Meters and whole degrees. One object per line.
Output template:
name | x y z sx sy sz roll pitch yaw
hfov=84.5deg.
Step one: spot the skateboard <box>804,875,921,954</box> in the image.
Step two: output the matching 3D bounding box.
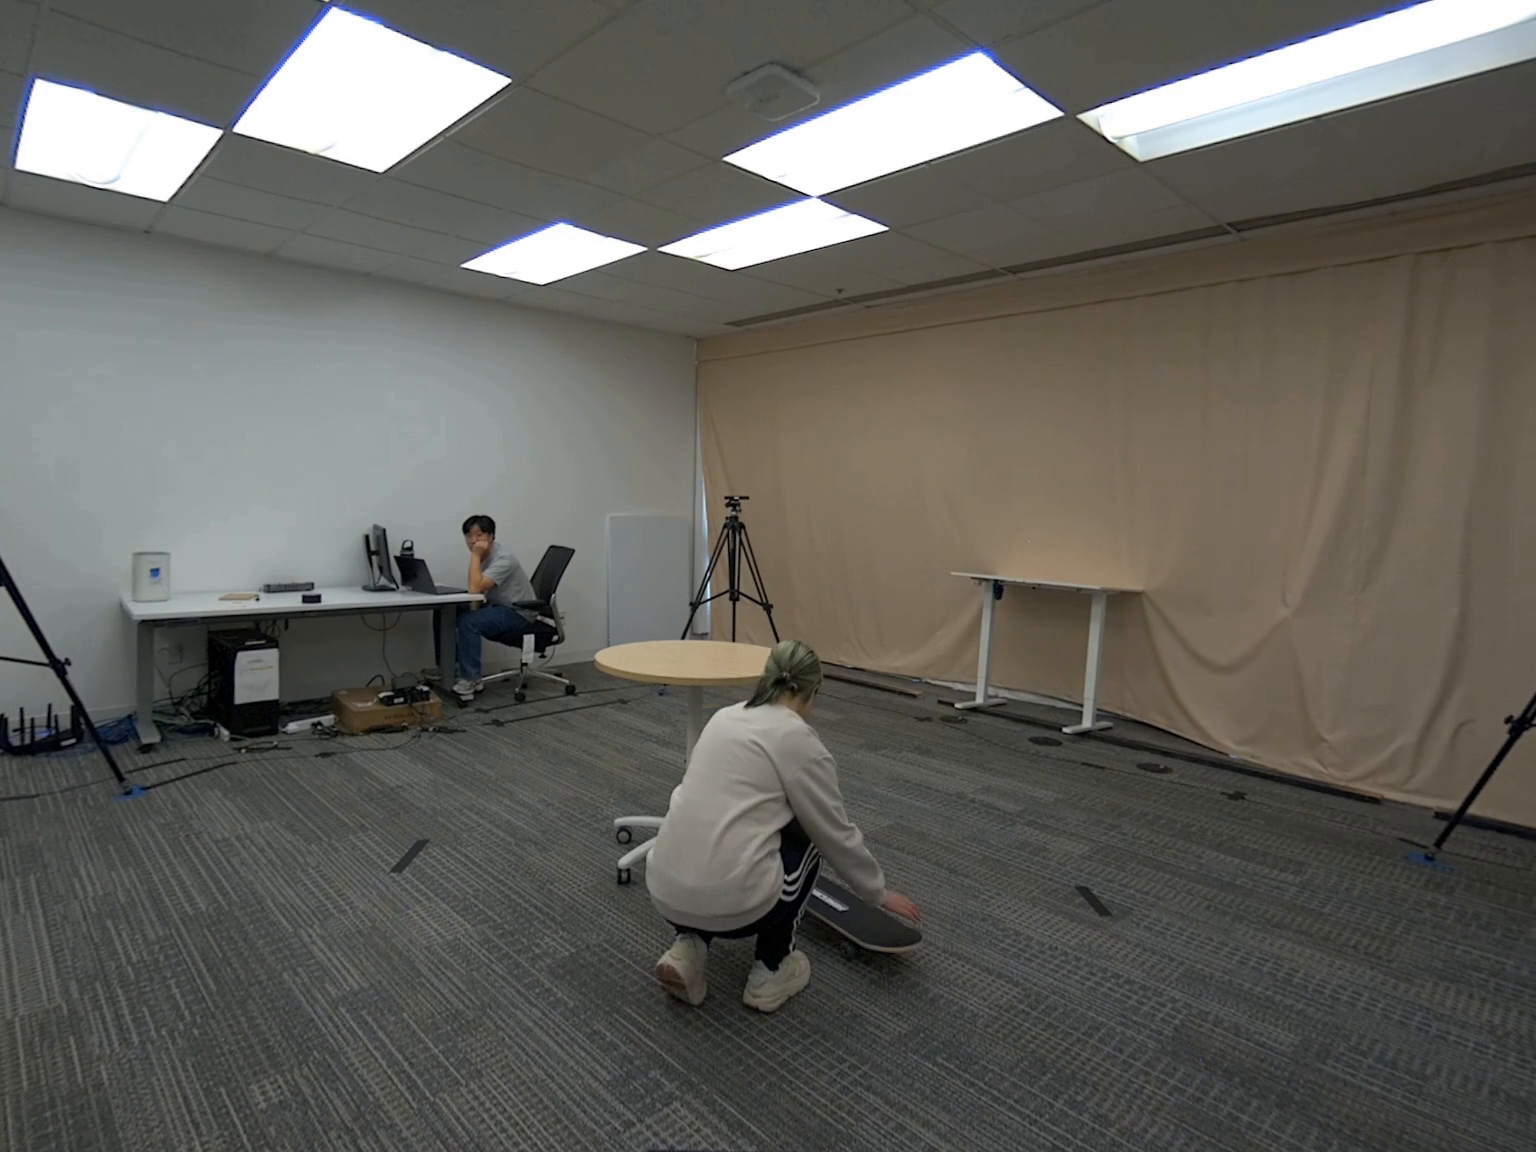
skateboard | 0.165 1.085 2.765 0.189 0.110 0.805 -2 6 -37
